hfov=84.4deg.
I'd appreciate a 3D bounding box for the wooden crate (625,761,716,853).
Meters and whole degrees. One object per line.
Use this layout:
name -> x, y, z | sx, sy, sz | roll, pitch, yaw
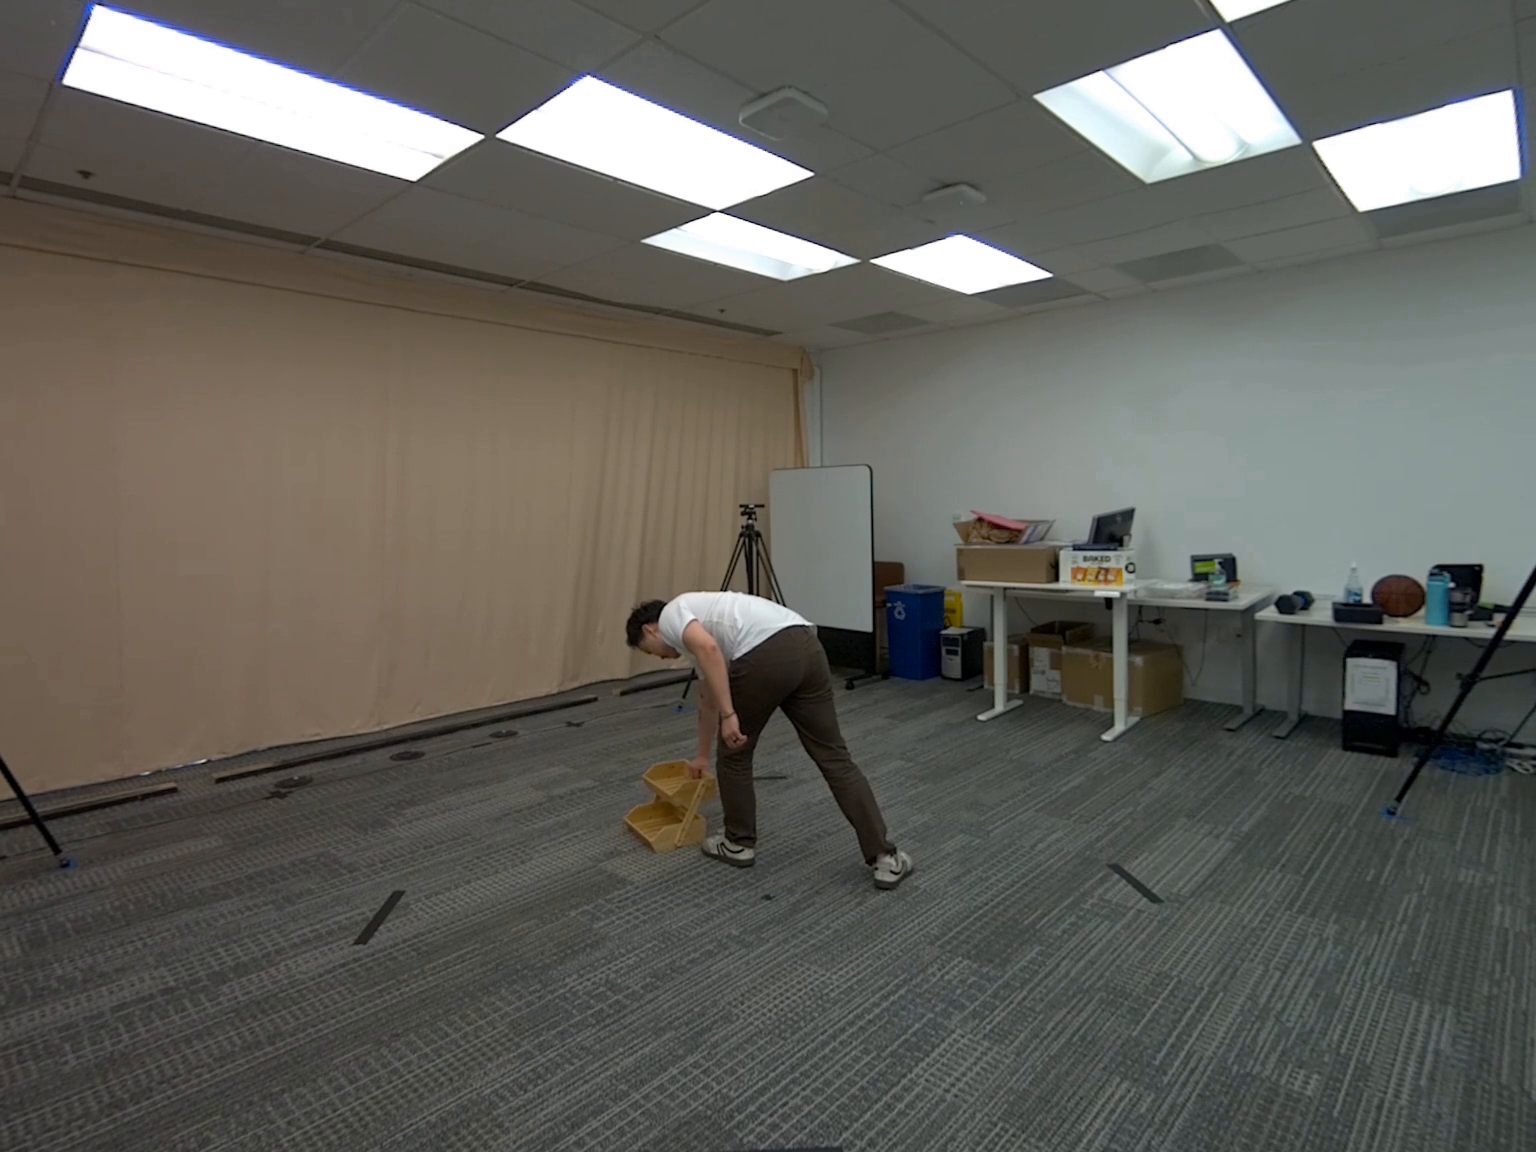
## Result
wooden crate -> -0.423, 0.961, 3.579 | 0.294, 0.273, 0.334 | -3, 4, -30
